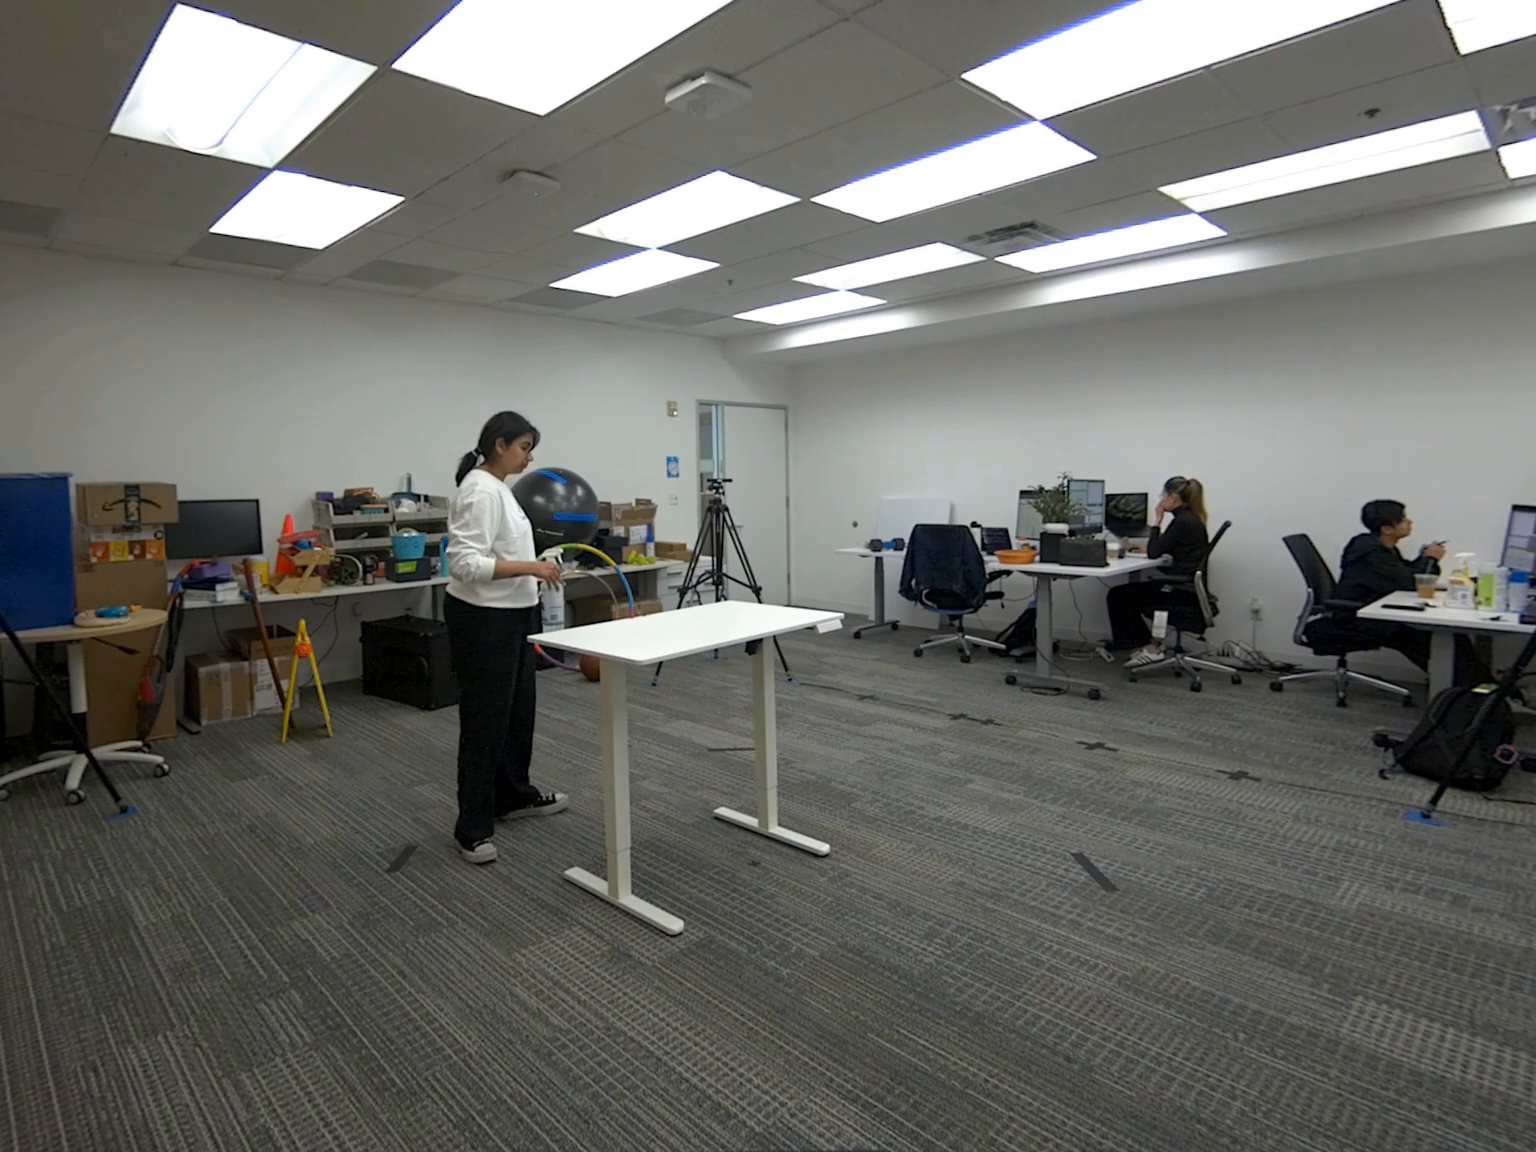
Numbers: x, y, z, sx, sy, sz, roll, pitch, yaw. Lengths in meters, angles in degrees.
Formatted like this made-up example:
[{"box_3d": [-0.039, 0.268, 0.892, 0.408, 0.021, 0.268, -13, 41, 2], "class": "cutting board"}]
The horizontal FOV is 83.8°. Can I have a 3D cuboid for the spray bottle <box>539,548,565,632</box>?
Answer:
[{"box_3d": [-0.841, 0.045, 3.315, 0.092, 0.297, 0.085, -1, 1, 42], "class": "spray bottle"}]
